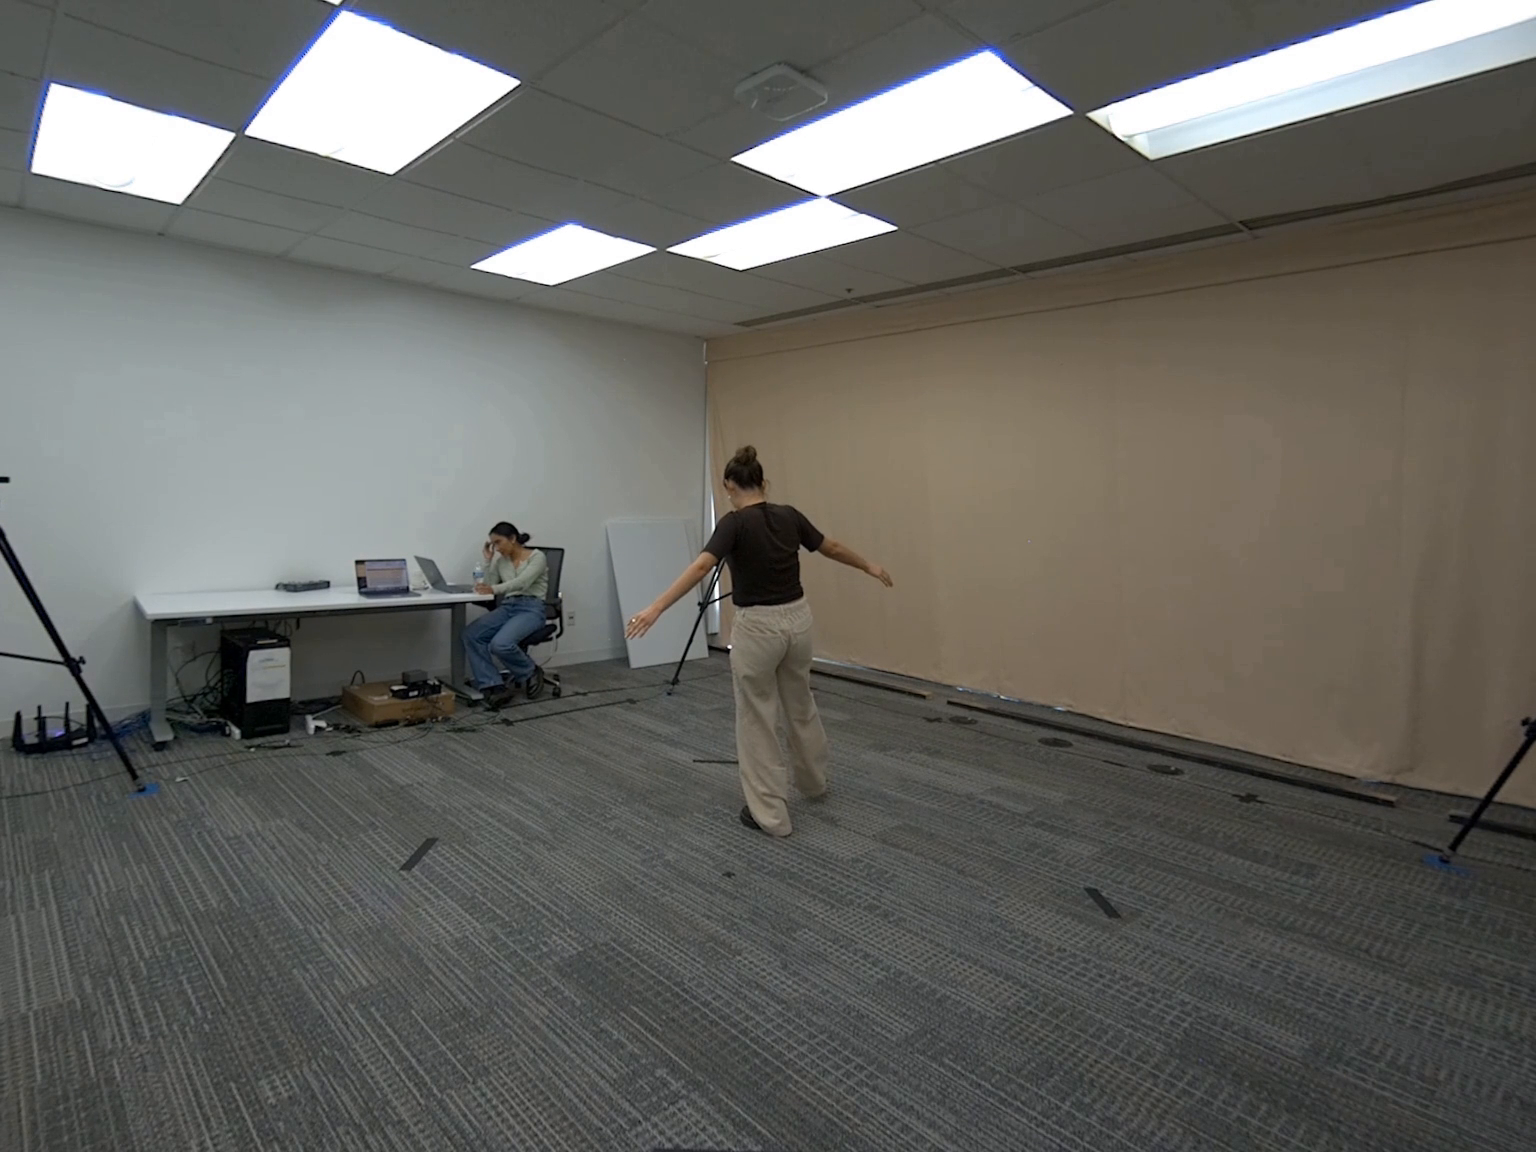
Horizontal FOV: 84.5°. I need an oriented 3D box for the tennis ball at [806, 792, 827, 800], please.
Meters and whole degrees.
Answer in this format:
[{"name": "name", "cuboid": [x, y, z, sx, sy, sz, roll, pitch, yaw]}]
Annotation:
[{"name": "tennis ball", "cuboid": [0.226, 0.989, 4.061, 0.066, 0.066, 0.067, 1, 4, -1]}]
